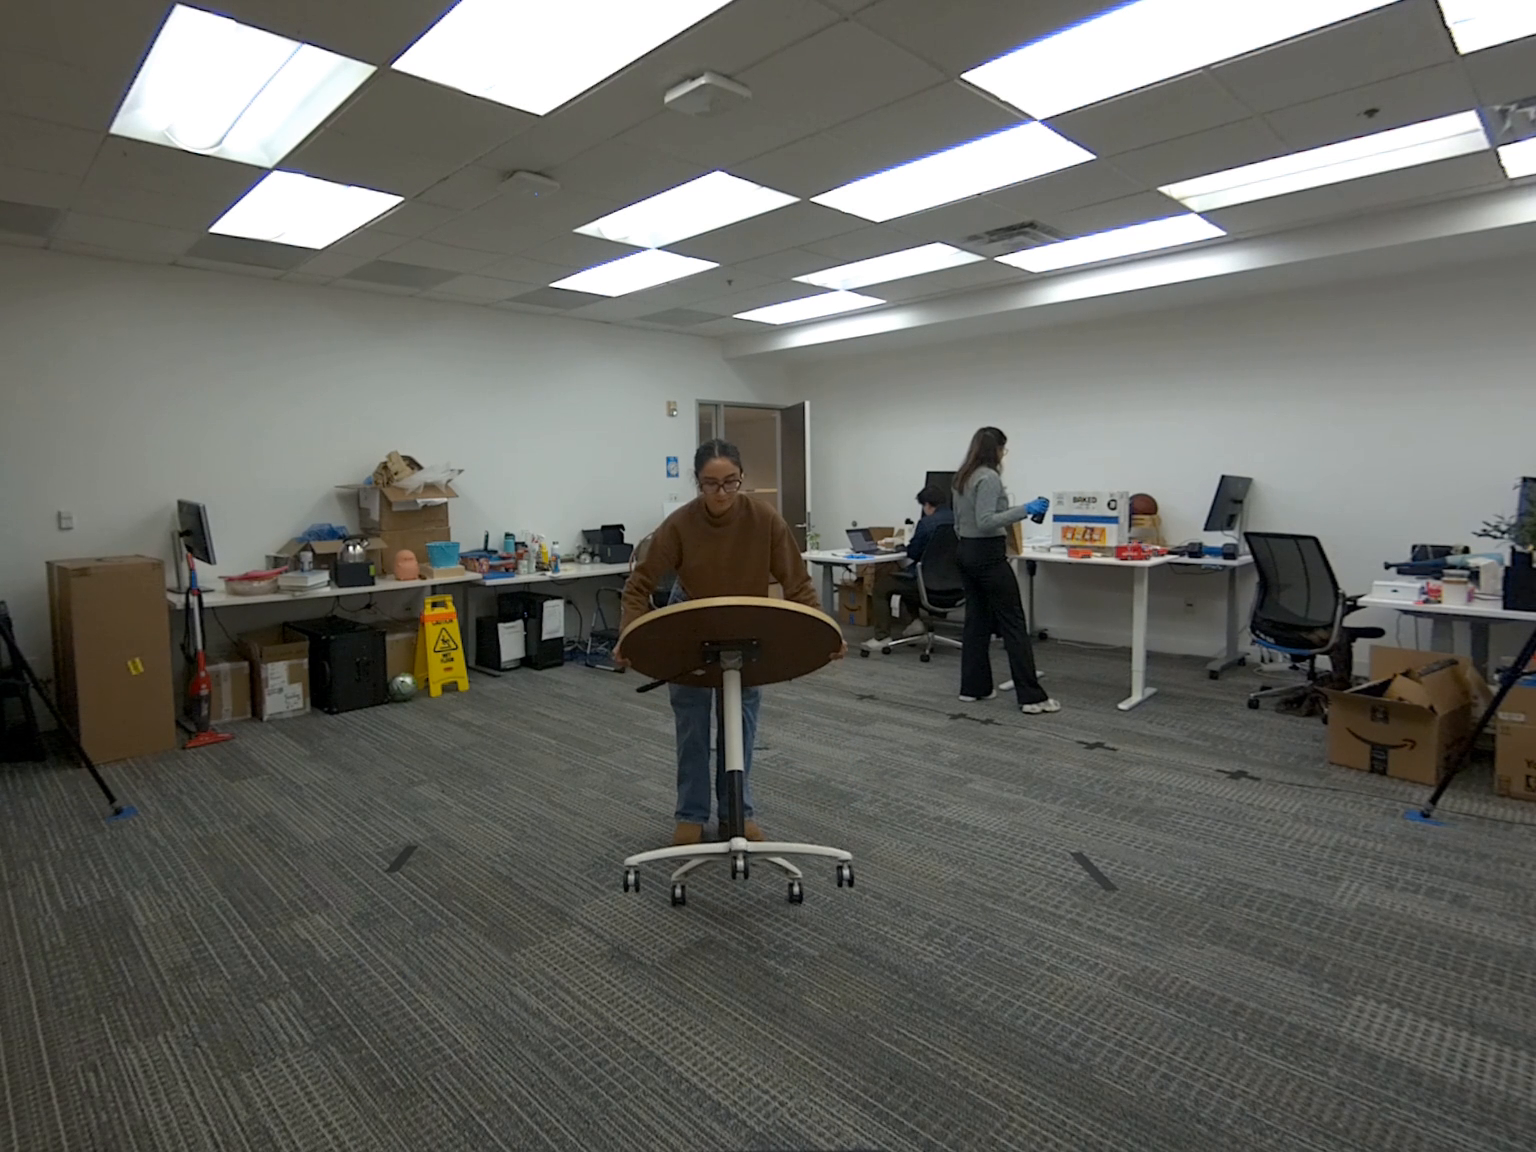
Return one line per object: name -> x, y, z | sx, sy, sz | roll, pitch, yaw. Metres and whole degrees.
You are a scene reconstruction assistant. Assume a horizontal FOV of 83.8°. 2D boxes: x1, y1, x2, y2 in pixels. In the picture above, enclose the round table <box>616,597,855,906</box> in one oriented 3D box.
round table -> -0.112, 0.600, 2.747 | 0.763, 0.813, 0.747 | -1, -27, -2
